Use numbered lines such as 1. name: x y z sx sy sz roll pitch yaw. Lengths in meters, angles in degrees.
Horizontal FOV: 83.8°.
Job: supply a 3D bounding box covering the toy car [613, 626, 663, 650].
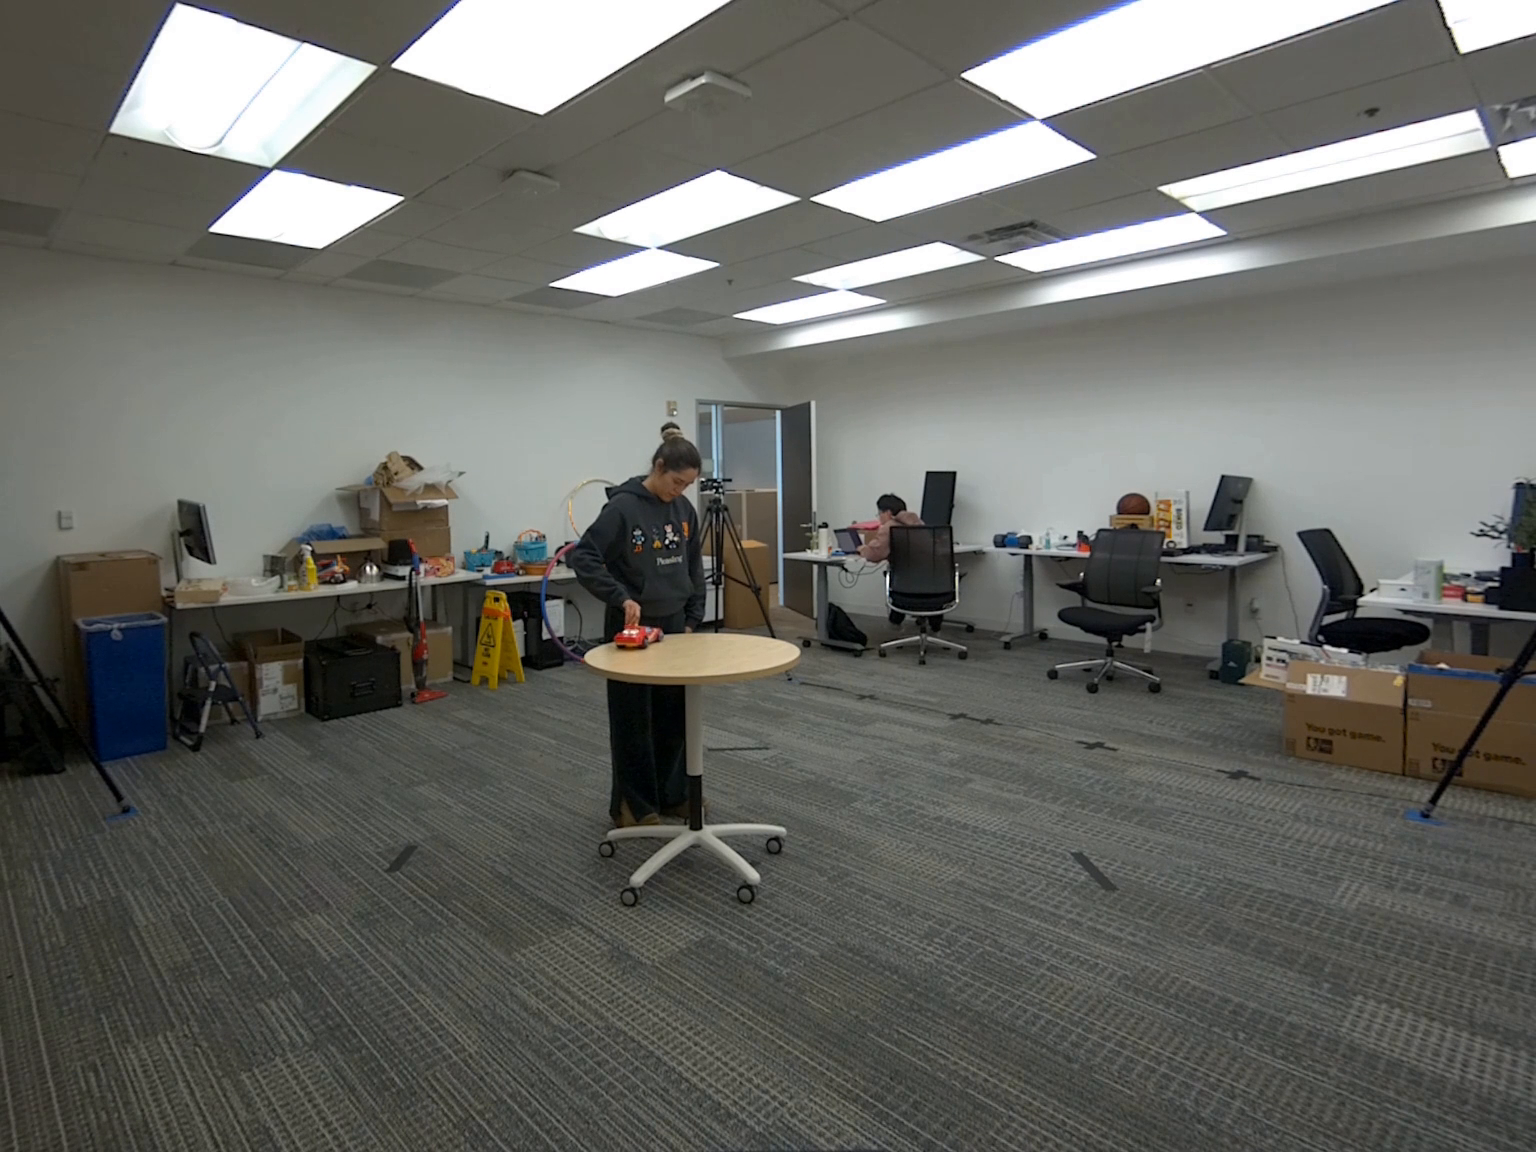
1. toy car: -0.484 0.233 3.173 0.132 0.084 0.249 0 -6 17
